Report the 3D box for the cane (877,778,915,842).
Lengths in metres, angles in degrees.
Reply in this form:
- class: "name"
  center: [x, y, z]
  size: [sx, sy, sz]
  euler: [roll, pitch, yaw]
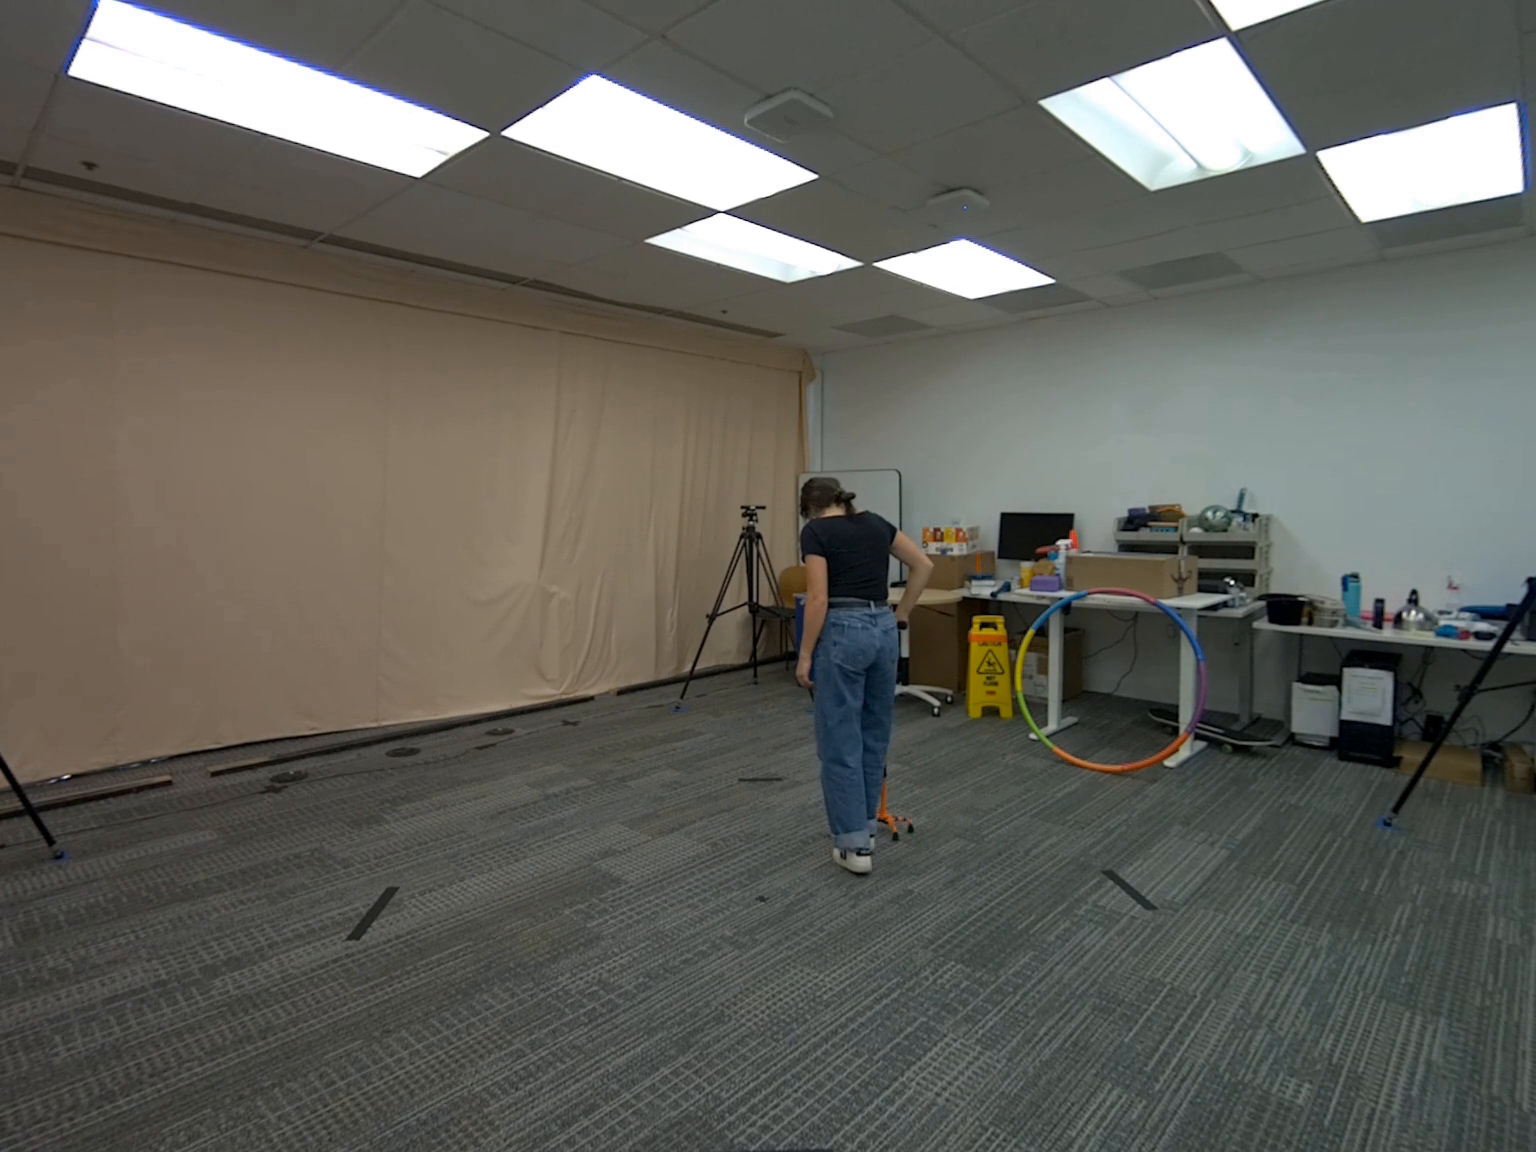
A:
- class: "cane"
  center: [0.517, 0.642, 3.596]
  size: [0.213, 0.907, 0.147]
  euler: [1, 2, 41]
